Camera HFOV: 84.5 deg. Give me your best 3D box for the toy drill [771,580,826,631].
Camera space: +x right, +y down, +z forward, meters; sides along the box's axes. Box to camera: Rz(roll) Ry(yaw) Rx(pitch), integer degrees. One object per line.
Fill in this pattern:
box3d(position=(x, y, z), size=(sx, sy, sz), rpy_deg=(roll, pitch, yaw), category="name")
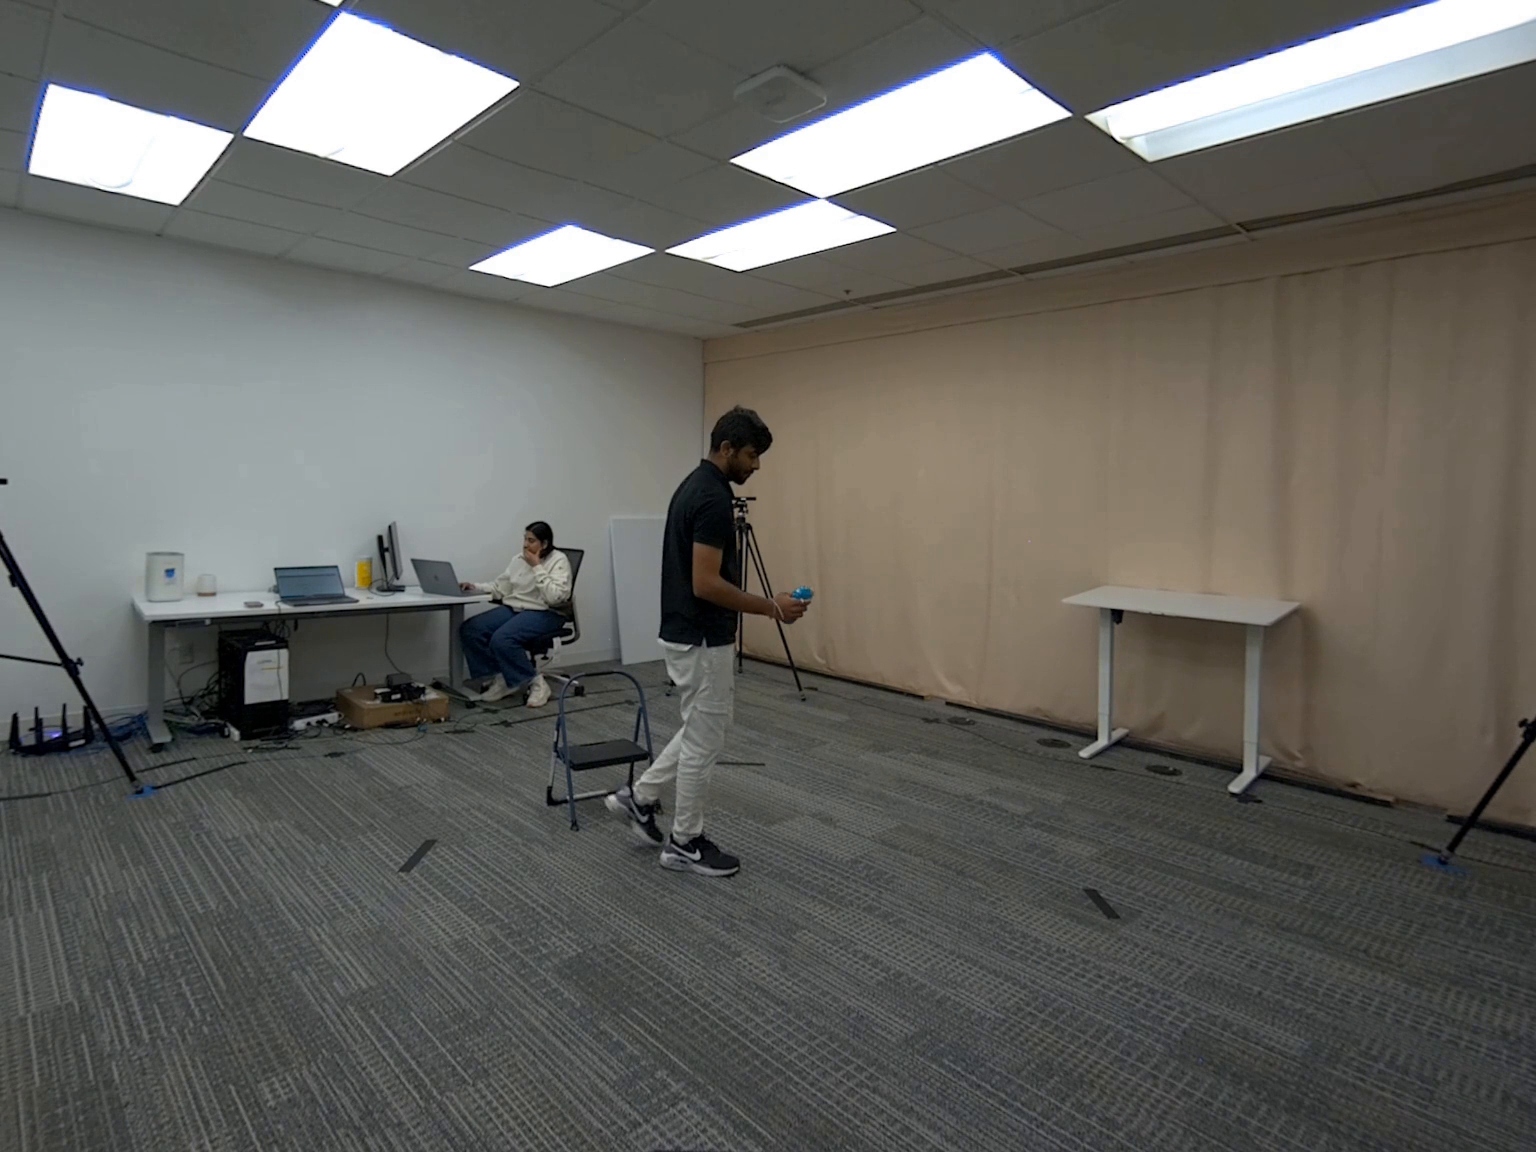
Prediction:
box3d(position=(0.110, 0.104, 3.067), size=(0.062, 0.145, 0.167), rpy_deg=(39, 27, 21), category="toy drill")
